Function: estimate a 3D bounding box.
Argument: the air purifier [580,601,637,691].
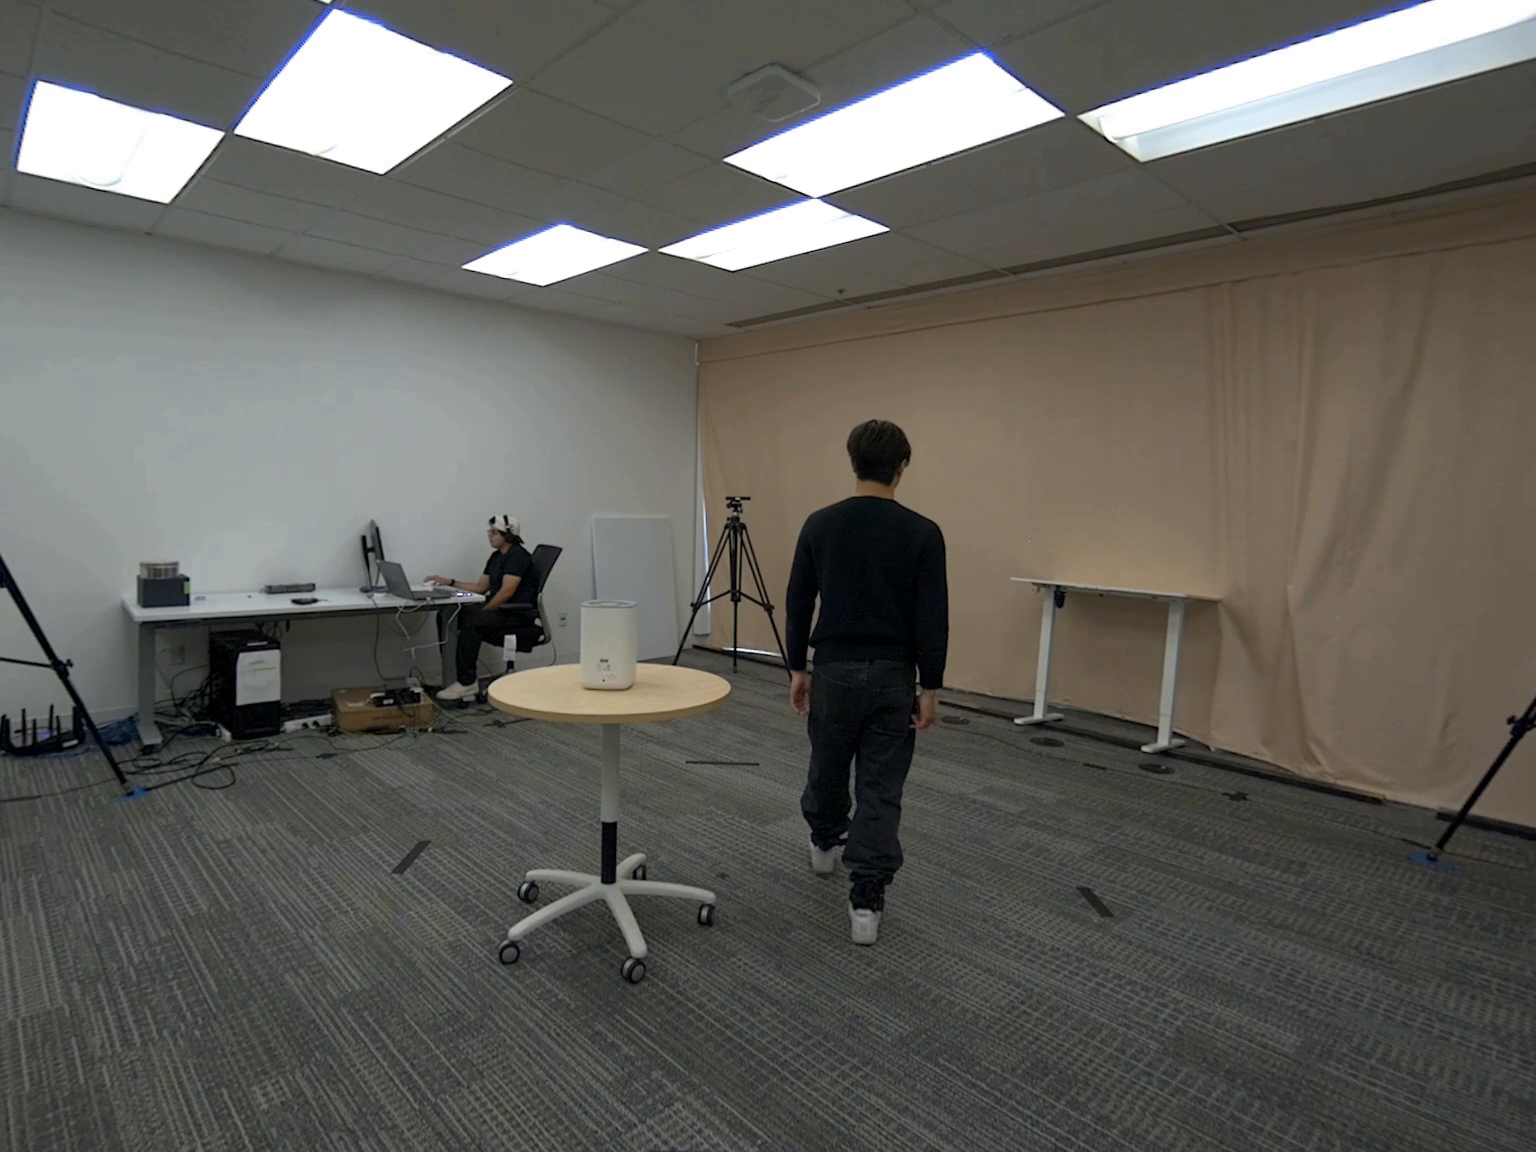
[{"bbox_3d":[-0.517,0.214,2.684,0.172,0.265,0.171,1,4,4],"label":"air purifier"}]
